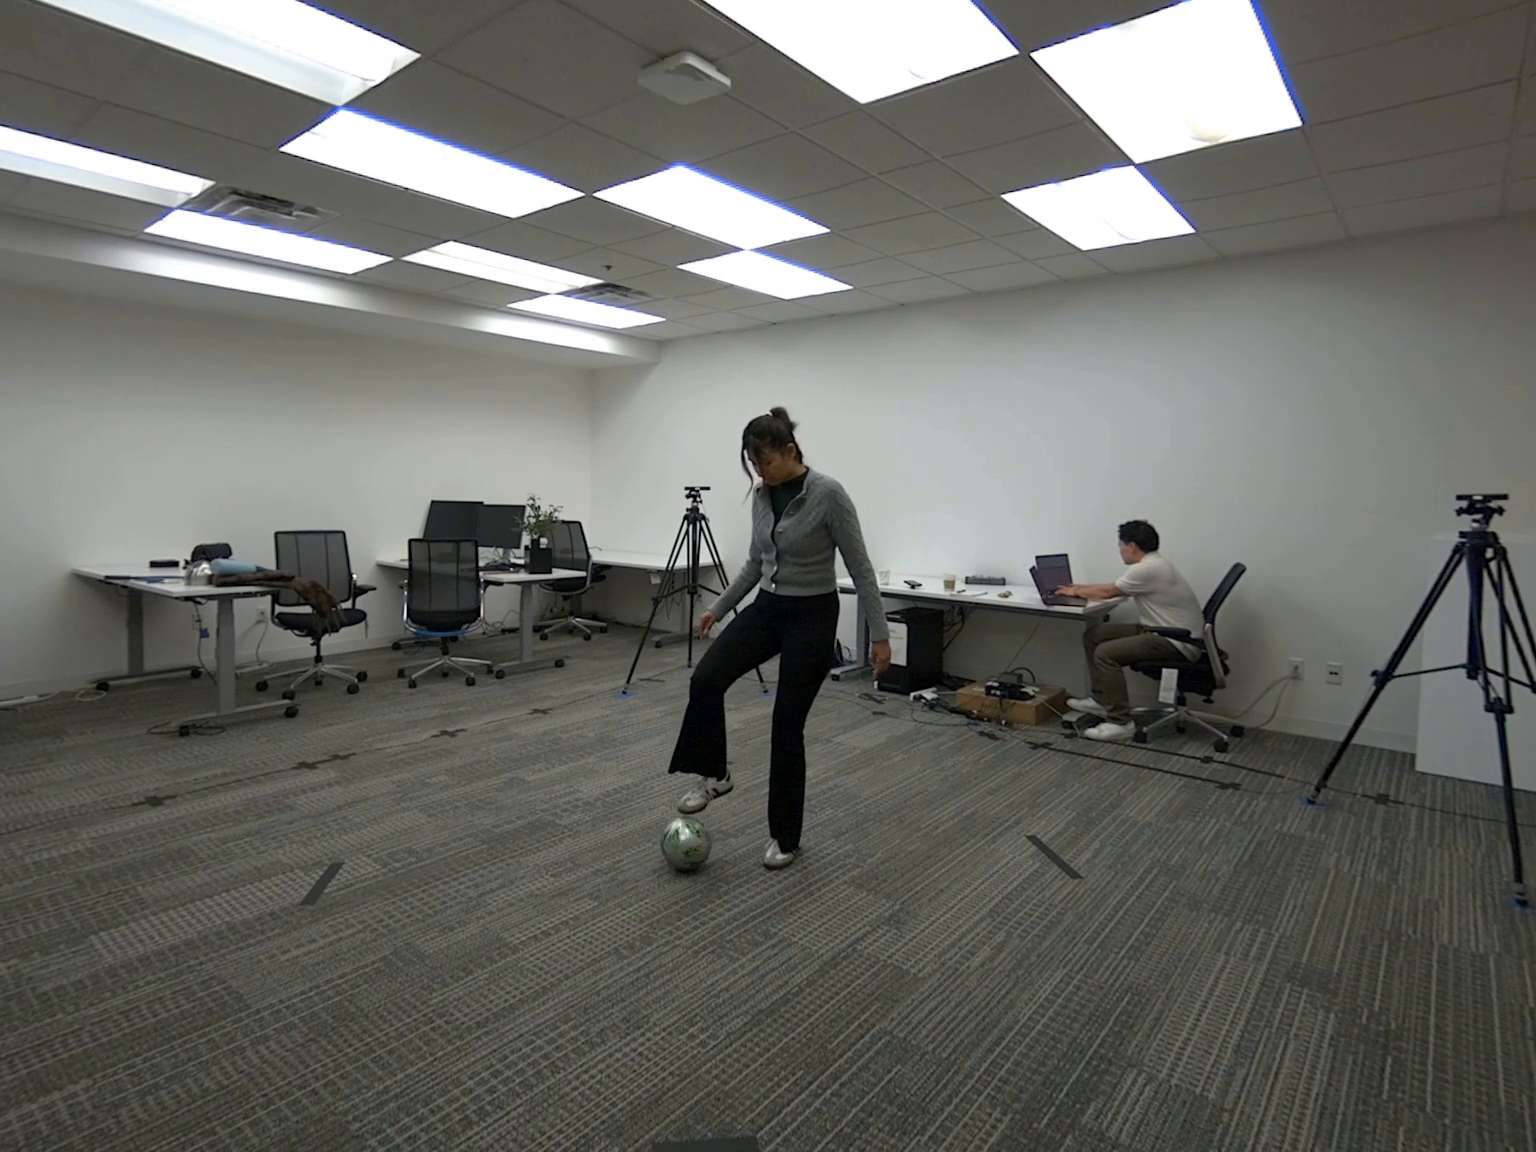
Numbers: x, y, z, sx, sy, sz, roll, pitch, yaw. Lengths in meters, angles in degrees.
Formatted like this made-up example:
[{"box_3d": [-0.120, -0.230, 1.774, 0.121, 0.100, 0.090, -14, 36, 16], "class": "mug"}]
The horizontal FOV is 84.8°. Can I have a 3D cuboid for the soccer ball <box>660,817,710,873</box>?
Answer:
[{"box_3d": [-0.312, 0.971, 3.074, 0.187, 0.187, 0.188, 1, 4, -2], "class": "soccer ball"}]
